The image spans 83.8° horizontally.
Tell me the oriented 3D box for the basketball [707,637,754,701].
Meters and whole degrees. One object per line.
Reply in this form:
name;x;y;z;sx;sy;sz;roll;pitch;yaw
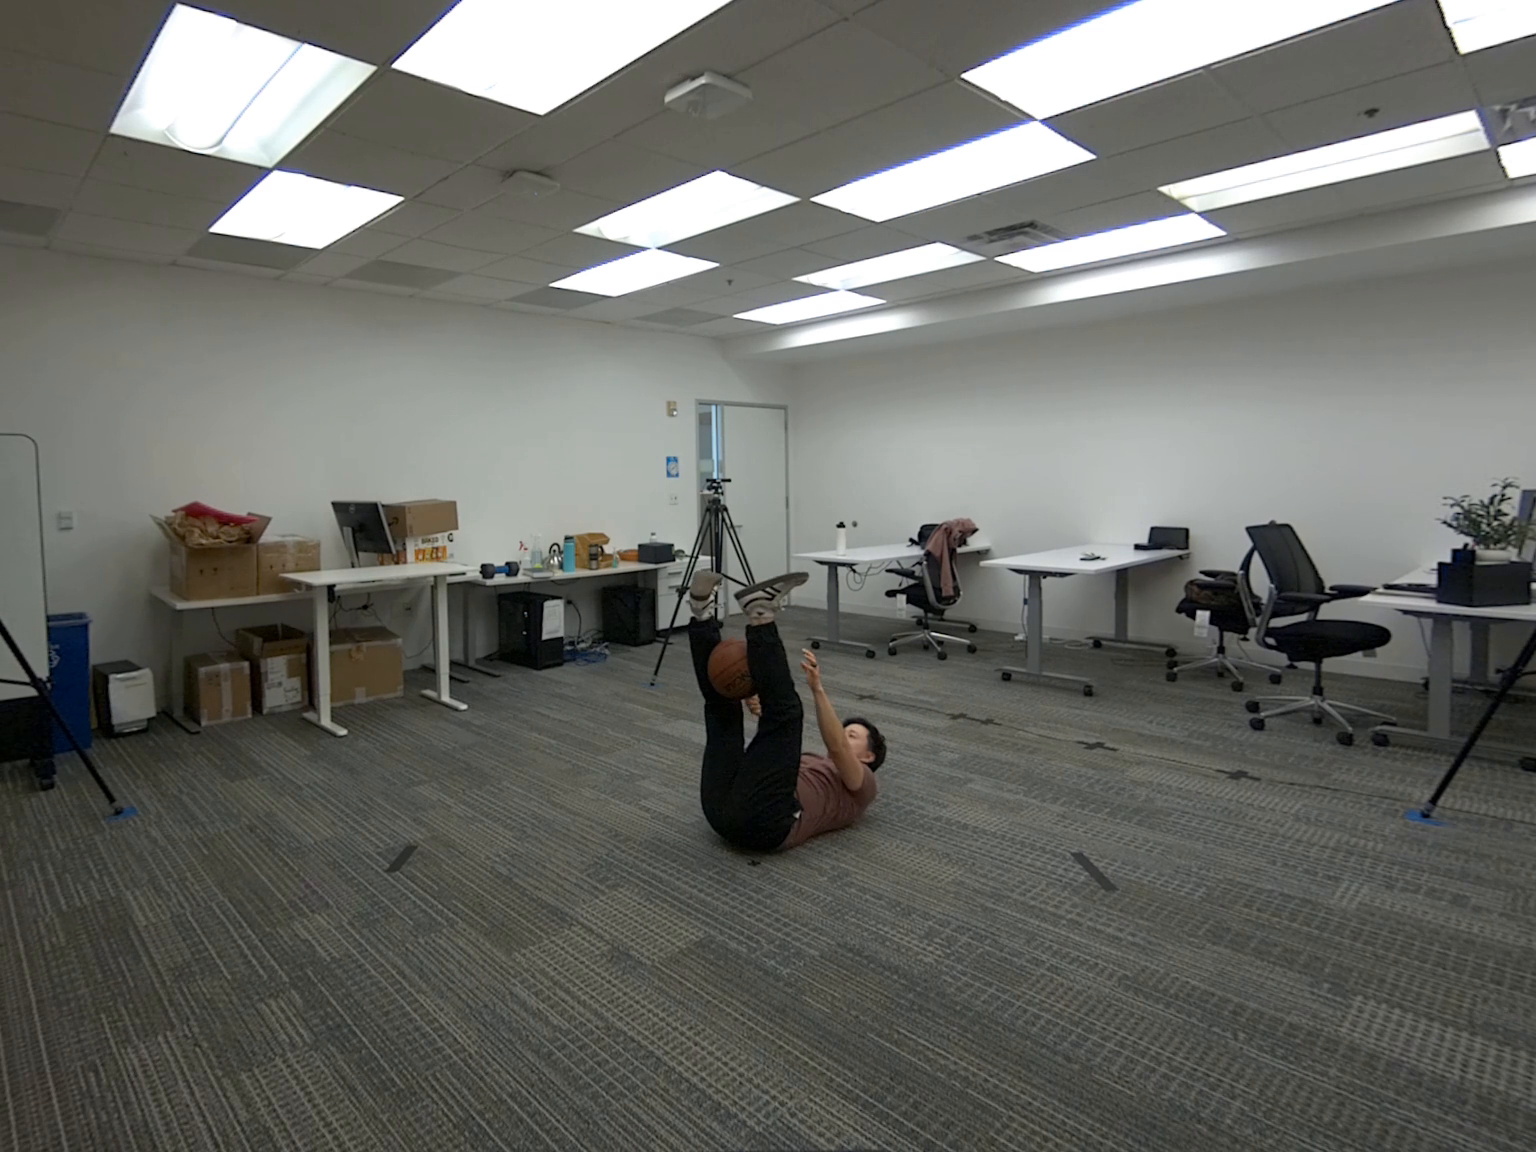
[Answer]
basketball;-0.117;0.350;3.211;0.236;0.235;0.237;-2;5;-2
